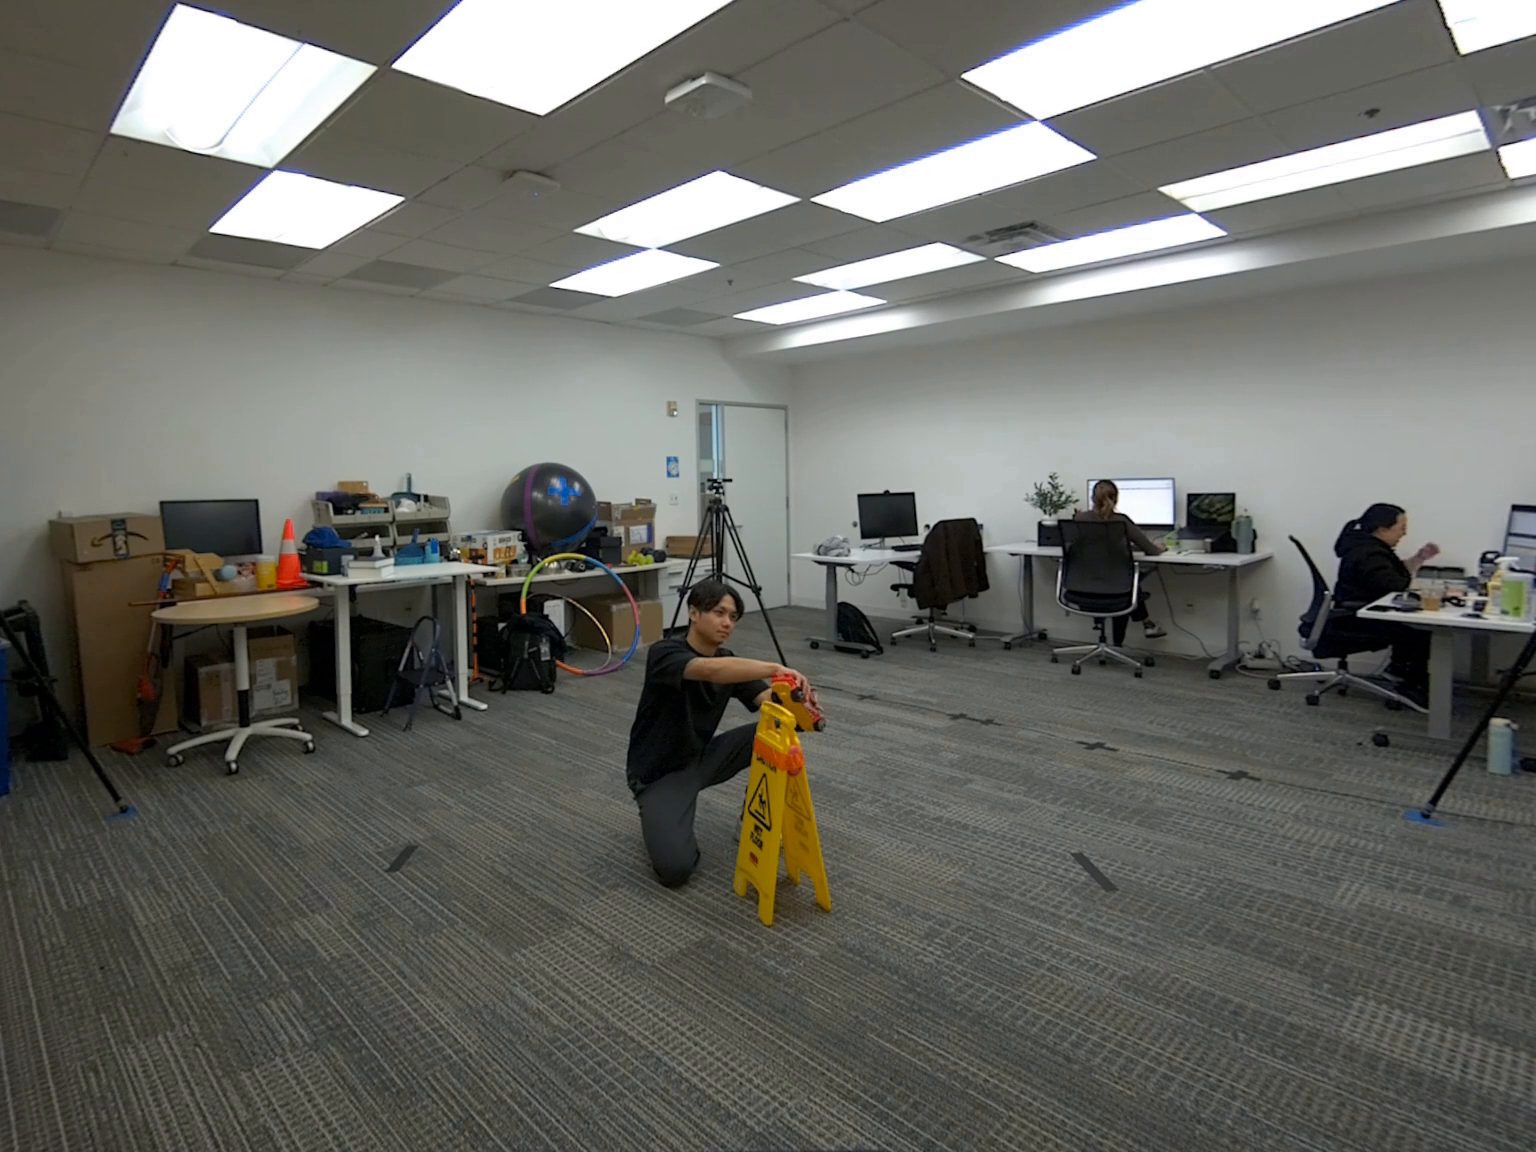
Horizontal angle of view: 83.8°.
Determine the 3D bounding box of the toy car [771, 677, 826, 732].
[{"bbox_3d":[0.090,0.433,2.868,0.133,0.250,0.083,-14,20,46],"label":"toy car"}]
